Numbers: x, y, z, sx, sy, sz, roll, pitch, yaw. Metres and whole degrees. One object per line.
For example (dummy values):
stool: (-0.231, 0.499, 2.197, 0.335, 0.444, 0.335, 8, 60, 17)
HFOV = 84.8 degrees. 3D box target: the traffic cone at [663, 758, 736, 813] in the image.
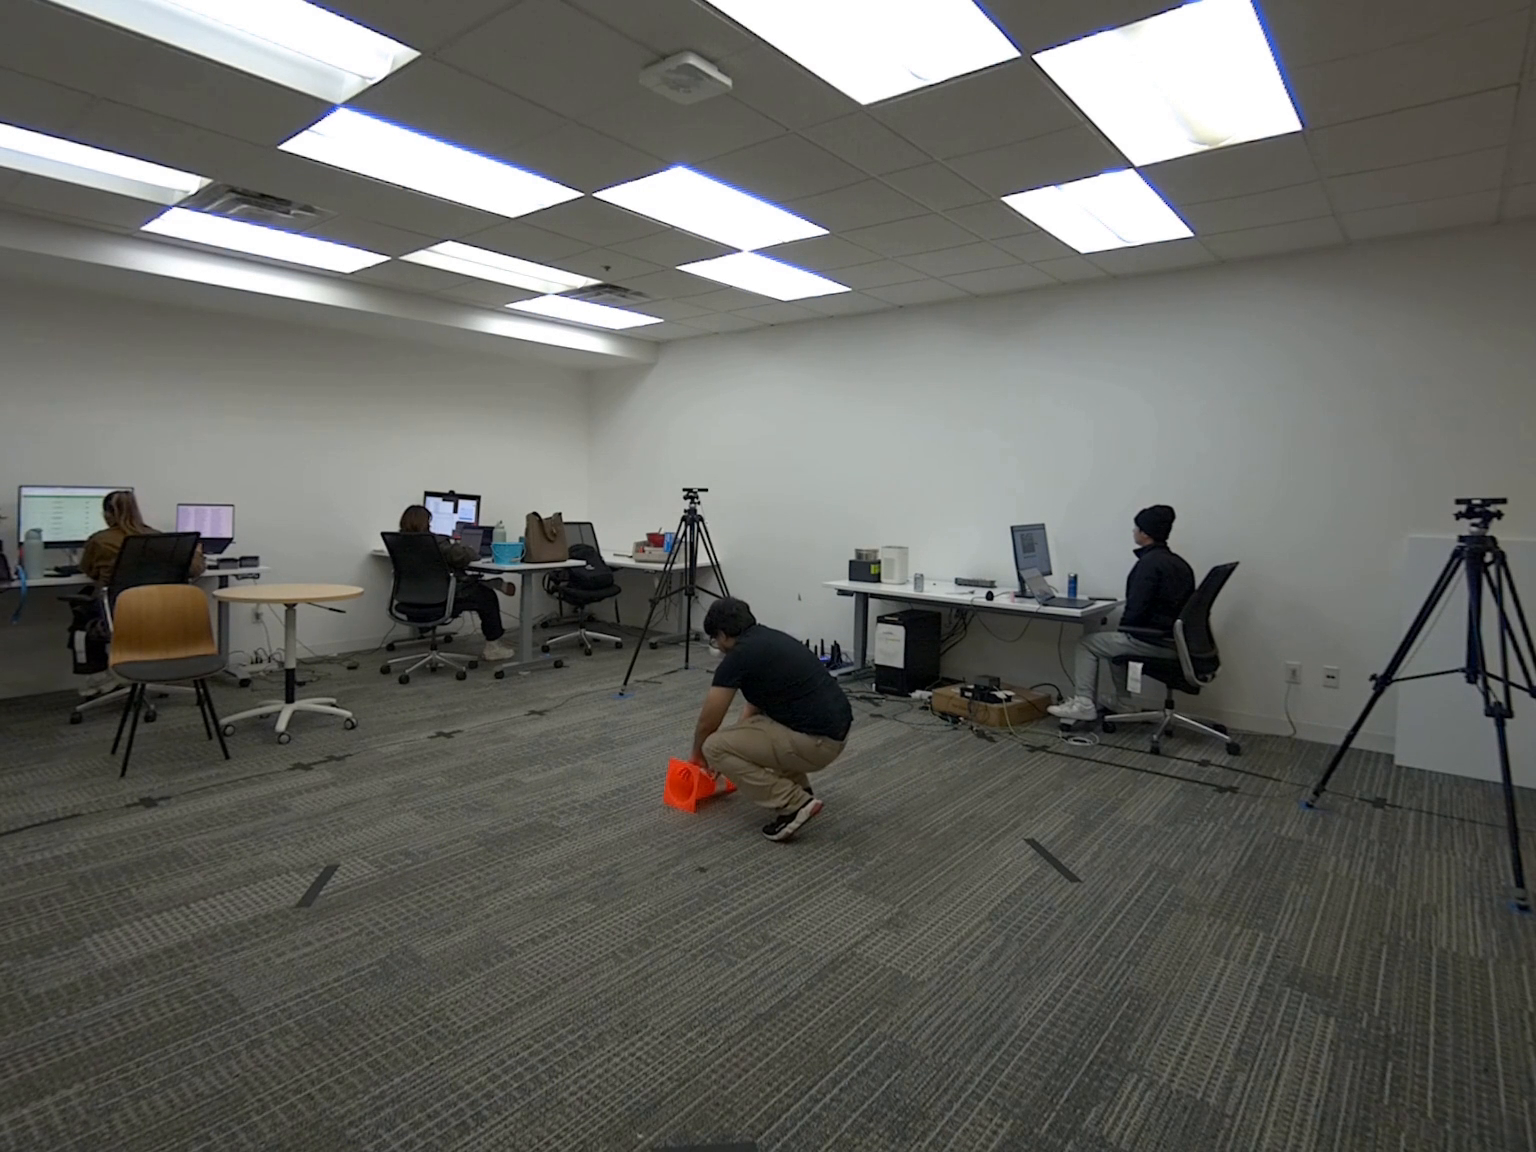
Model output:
traffic cone: (-0.272, 0.947, 3.859, 0.210, 0.206, 0.369, 4, -8, 43)
